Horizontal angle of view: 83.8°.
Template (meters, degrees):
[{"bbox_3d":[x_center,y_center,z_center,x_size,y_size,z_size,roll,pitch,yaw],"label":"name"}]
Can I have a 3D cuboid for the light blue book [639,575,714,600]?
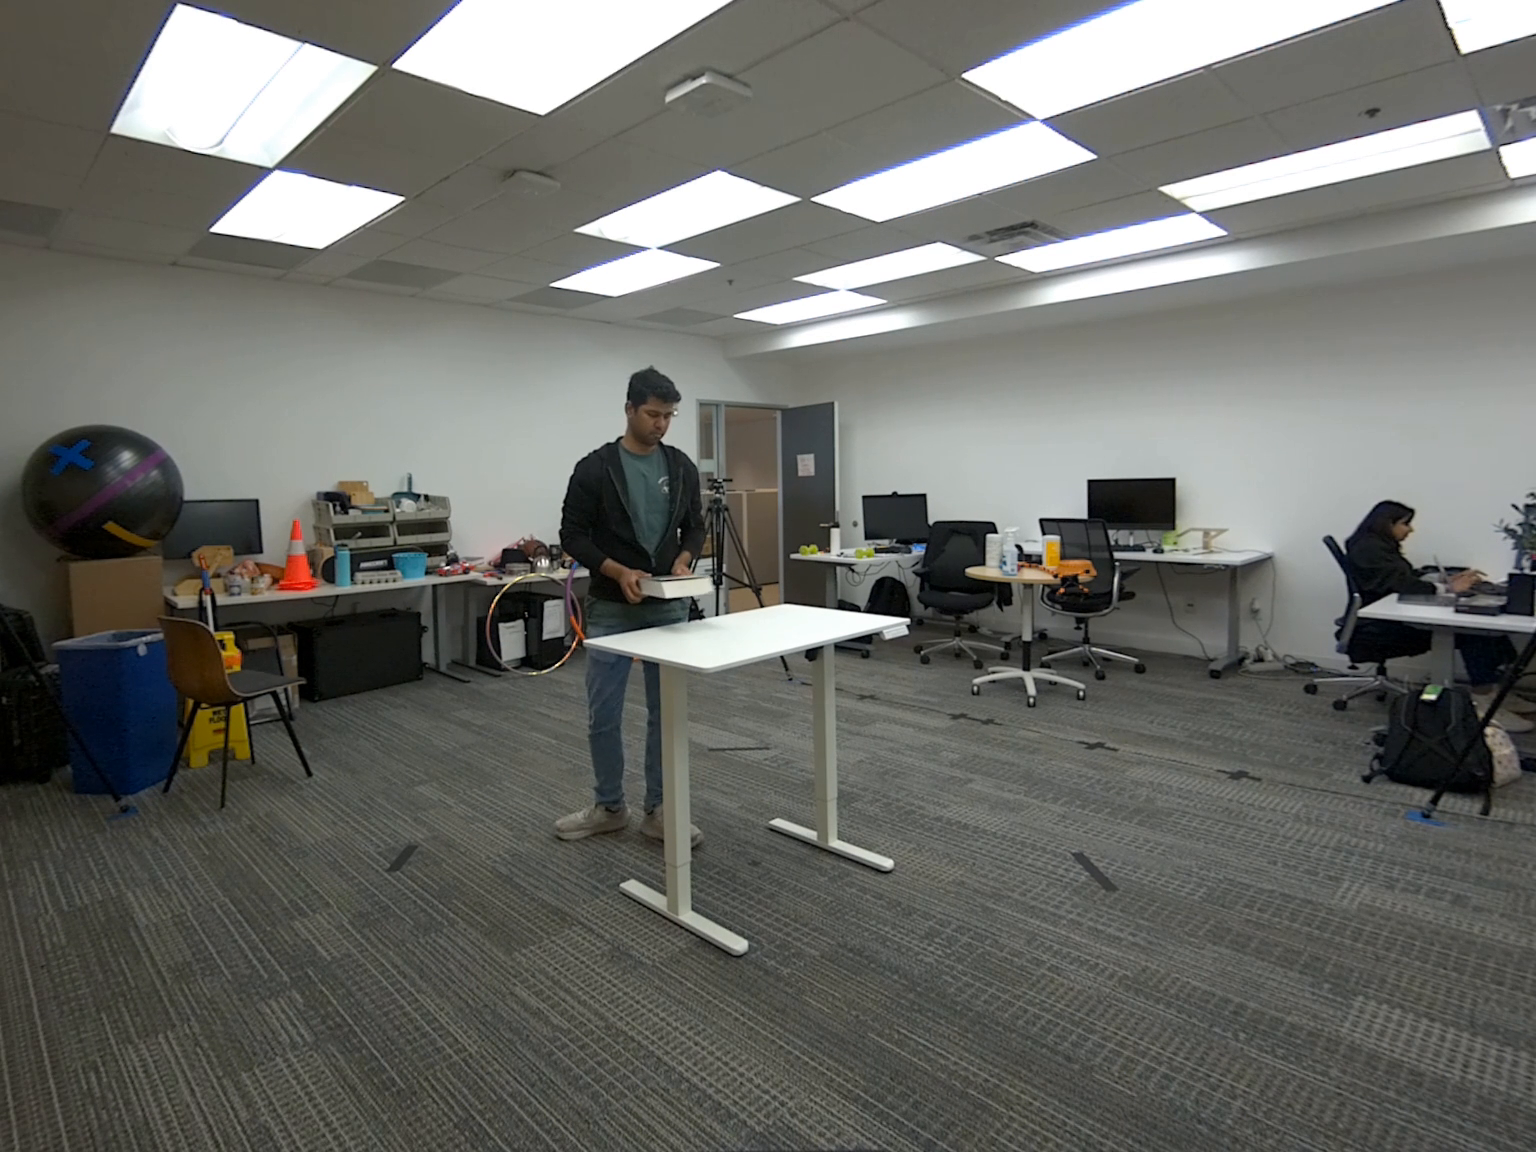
[{"bbox_3d":[-0.332,0.033,3.003,0.188,0.059,0.266,-6,4,-22],"label":"light blue book"}]
